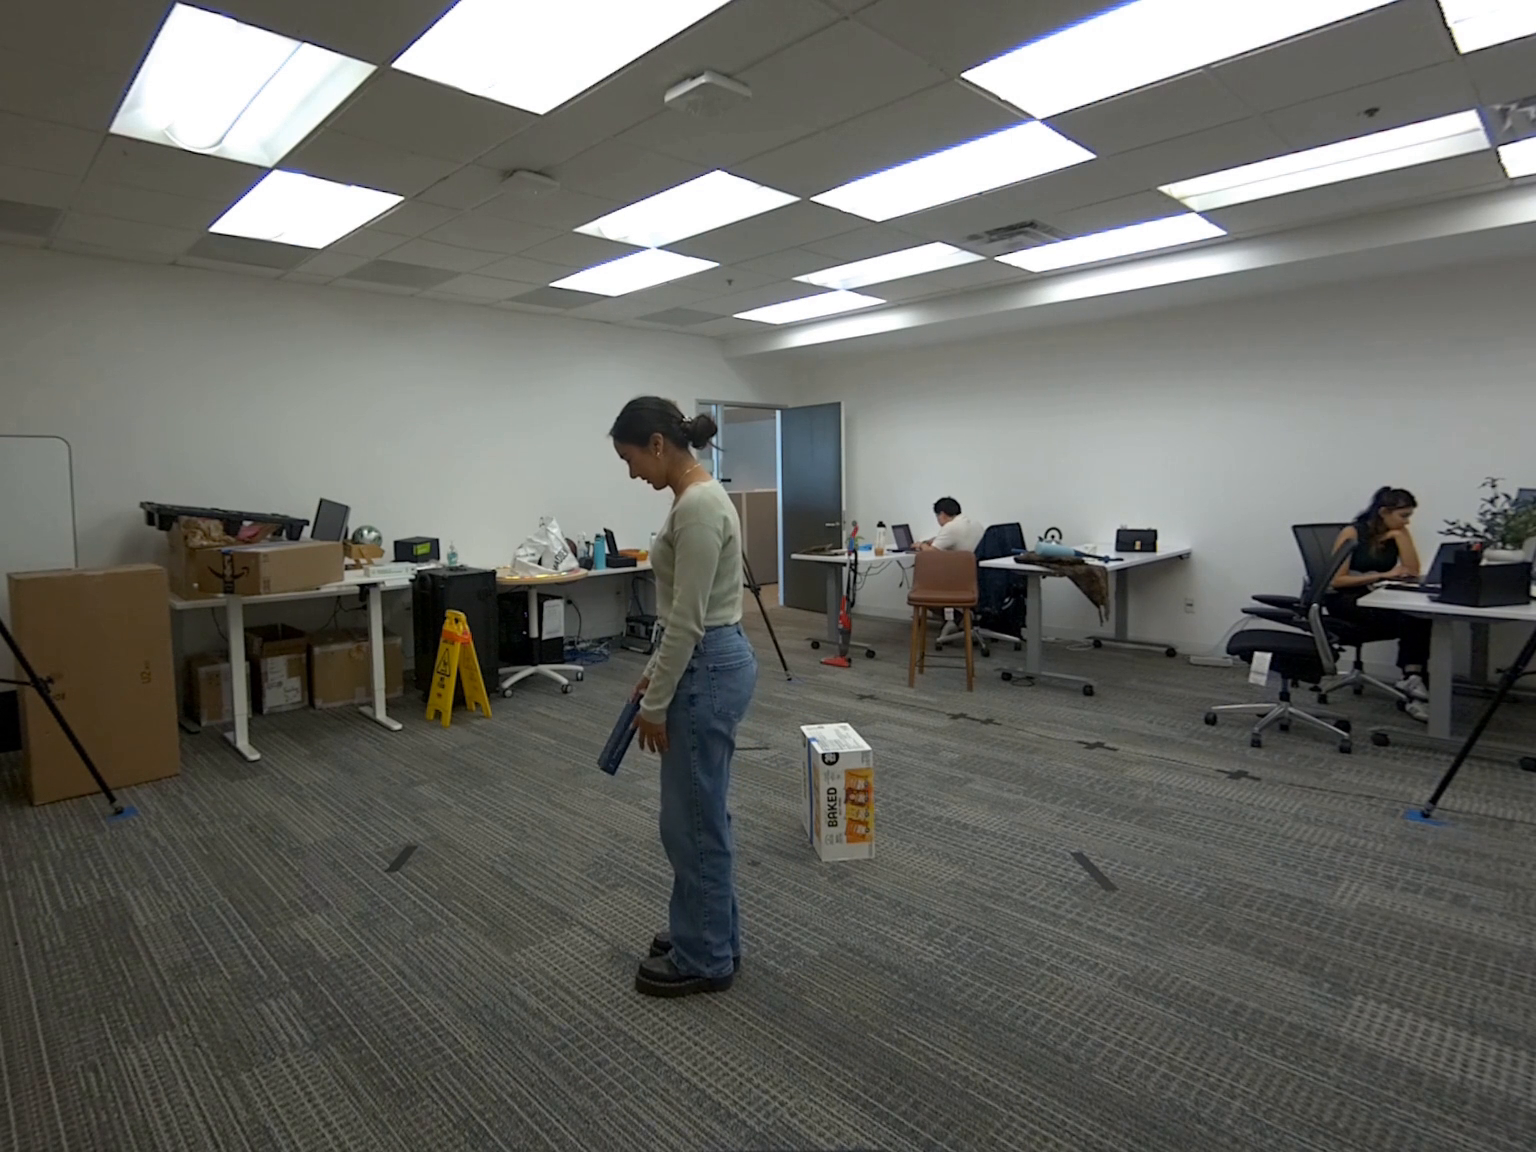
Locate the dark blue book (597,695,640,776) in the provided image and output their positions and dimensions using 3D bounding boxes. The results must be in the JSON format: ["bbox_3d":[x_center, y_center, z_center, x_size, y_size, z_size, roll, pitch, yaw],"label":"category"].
[{"bbox_3d":[-0.424,0.464,2.553,0.044,0.246,0.165,25,-10,-13],"label":"dark blue book"}]
